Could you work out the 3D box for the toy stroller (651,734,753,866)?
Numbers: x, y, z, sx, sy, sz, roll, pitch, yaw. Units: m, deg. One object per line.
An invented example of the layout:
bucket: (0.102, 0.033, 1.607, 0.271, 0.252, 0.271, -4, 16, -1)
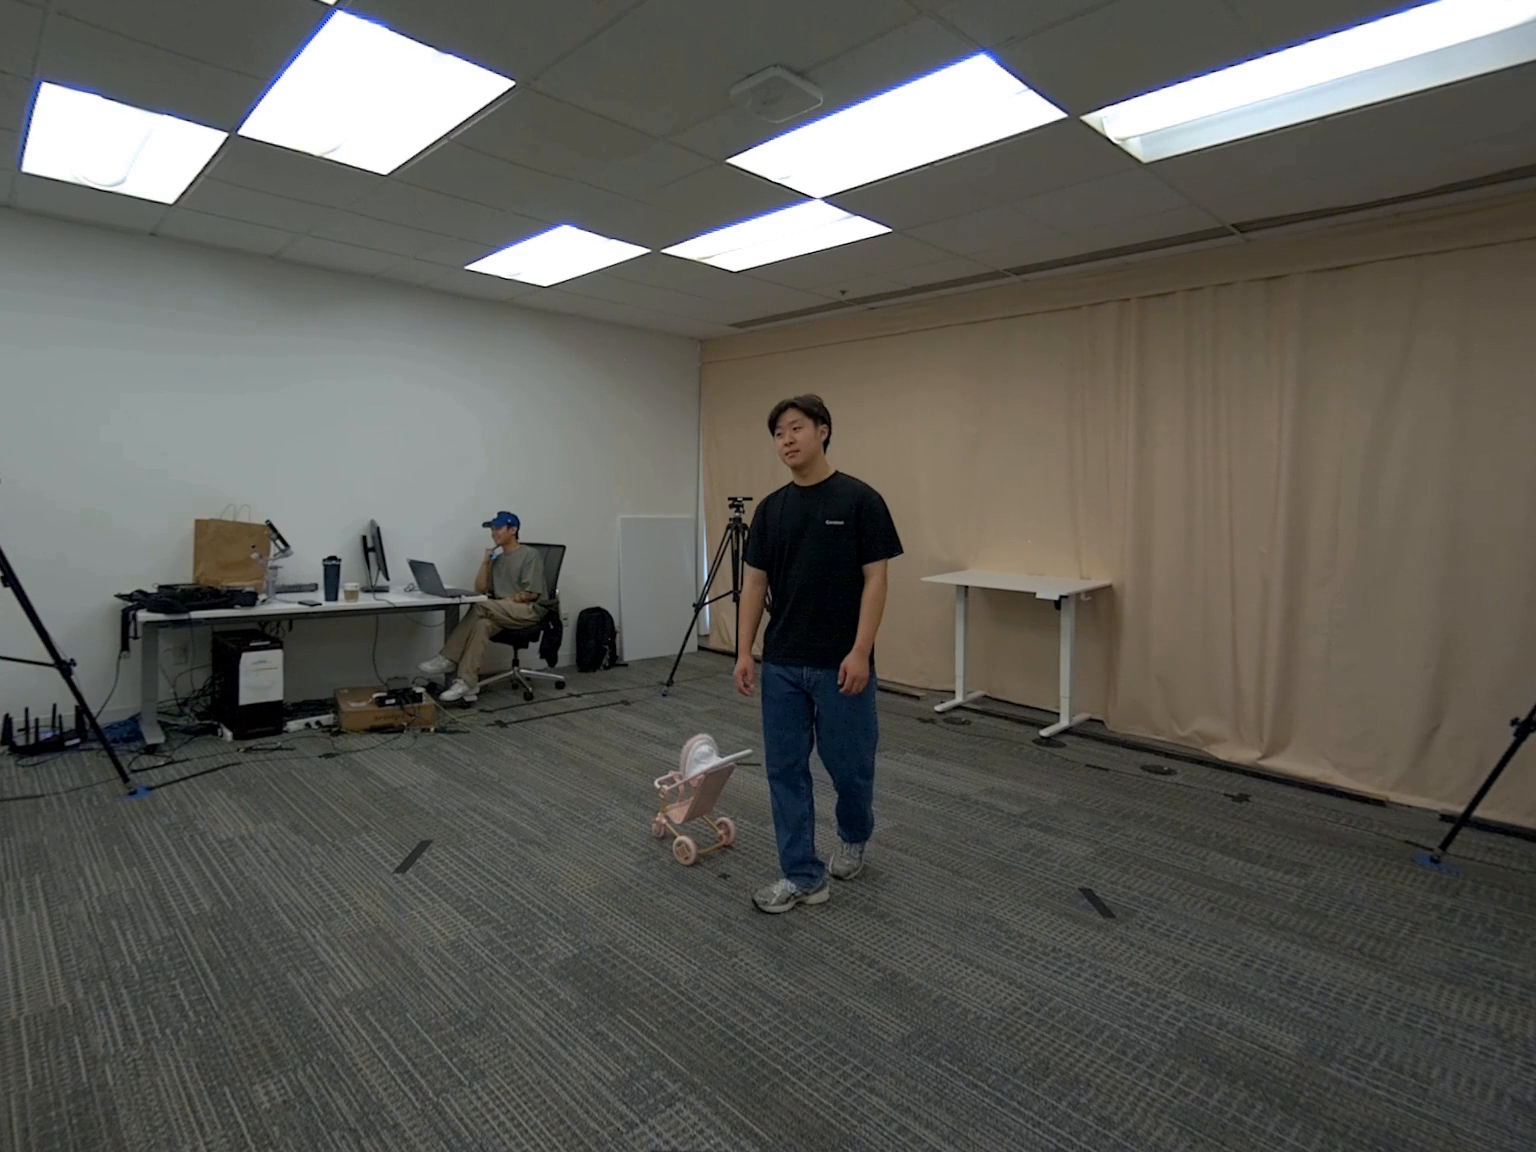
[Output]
toy stroller: (-0.296, 0.859, 3.322, 0.352, 0.531, 0.275, 25, 17, 39)
